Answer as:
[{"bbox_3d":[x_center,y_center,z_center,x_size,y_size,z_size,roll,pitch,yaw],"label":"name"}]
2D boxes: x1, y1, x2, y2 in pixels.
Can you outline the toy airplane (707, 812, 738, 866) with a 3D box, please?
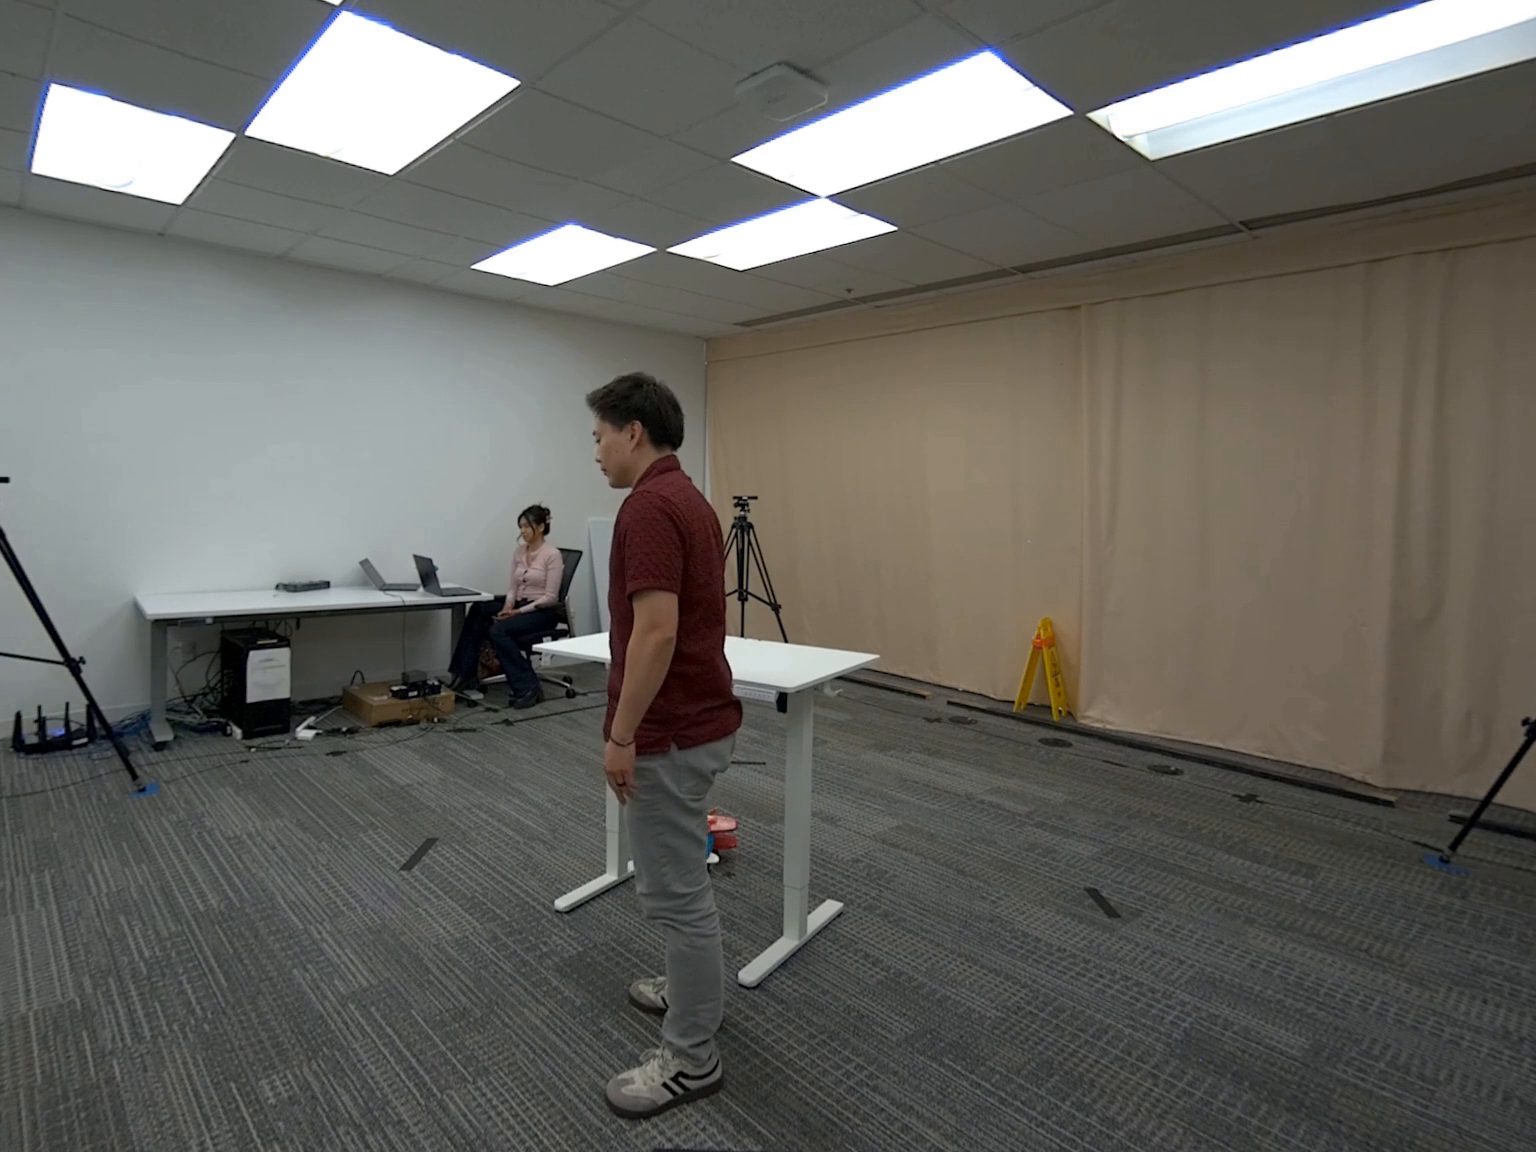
[{"bbox_3d":[-0.235,1.018,3.206,0.246,0.156,0.265,-2,5,-28],"label":"toy airplane"}]
